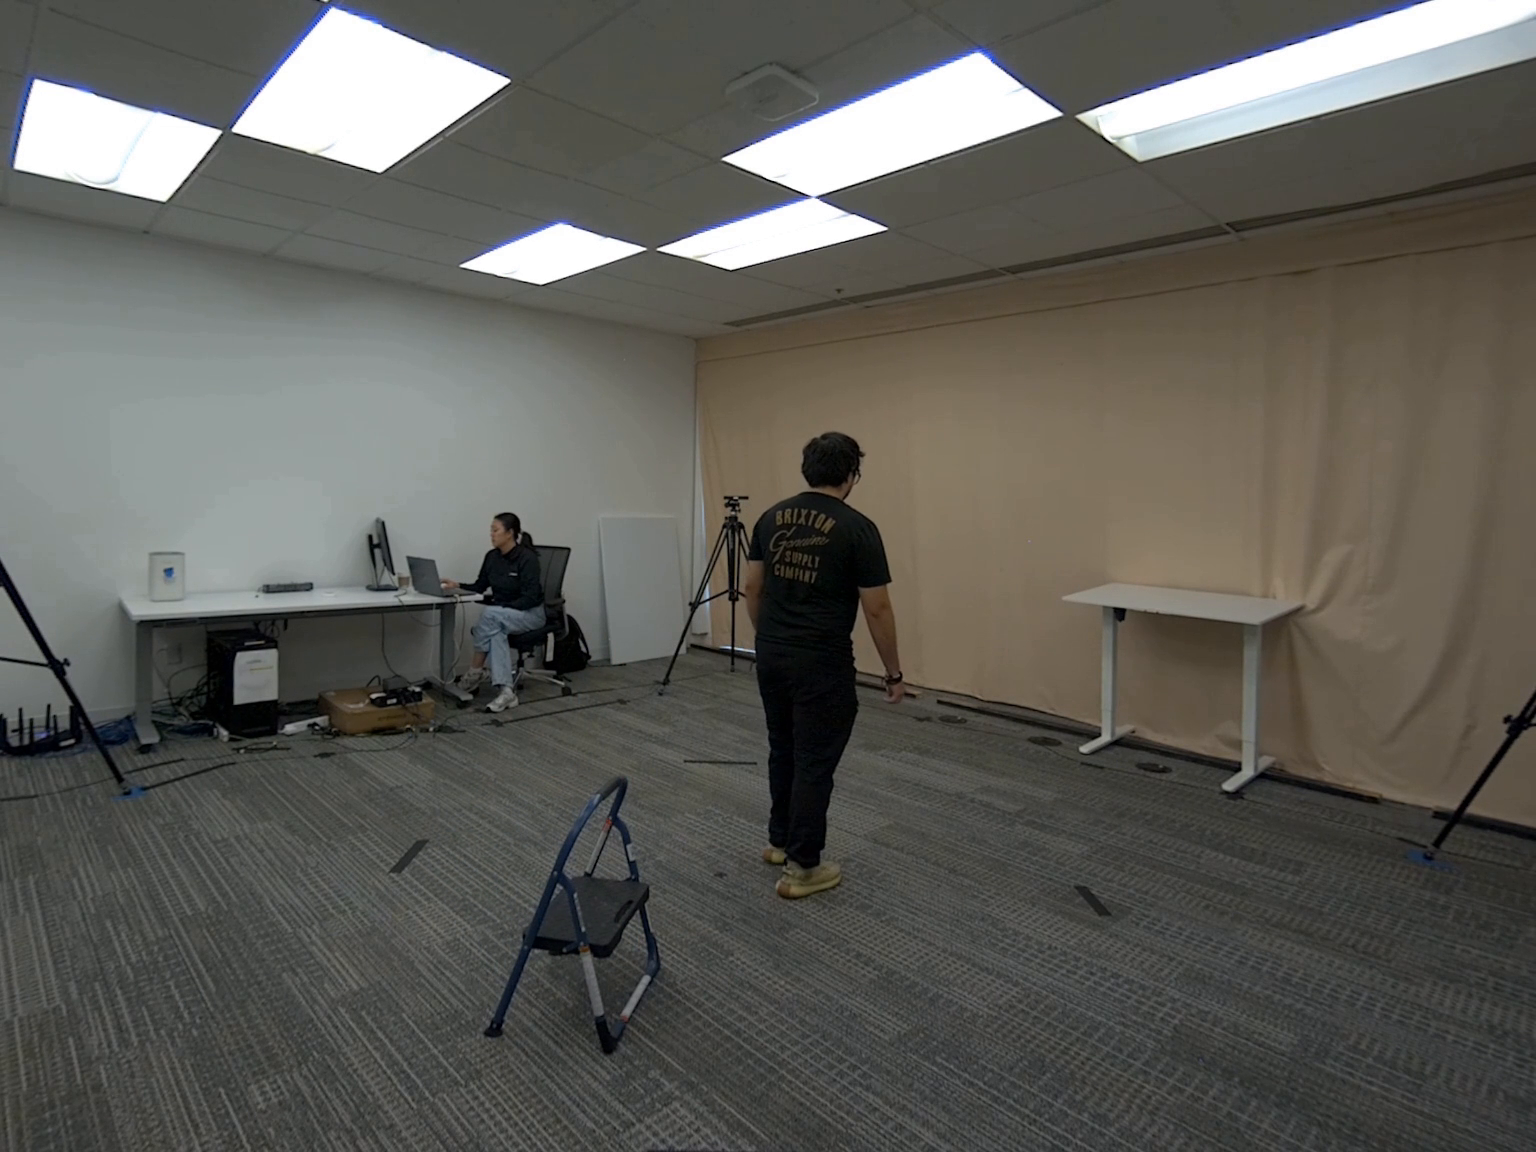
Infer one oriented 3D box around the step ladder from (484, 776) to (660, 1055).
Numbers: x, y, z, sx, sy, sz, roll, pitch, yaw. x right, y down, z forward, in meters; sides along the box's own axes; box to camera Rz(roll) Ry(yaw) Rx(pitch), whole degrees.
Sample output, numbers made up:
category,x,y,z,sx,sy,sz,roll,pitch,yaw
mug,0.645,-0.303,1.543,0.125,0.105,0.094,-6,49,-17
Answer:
category,x,y,z,sx,sy,sz,roll,pitch,yaw
step ladder,-0.517,0.869,2.301,0.352,0.604,0.428,2,4,10
